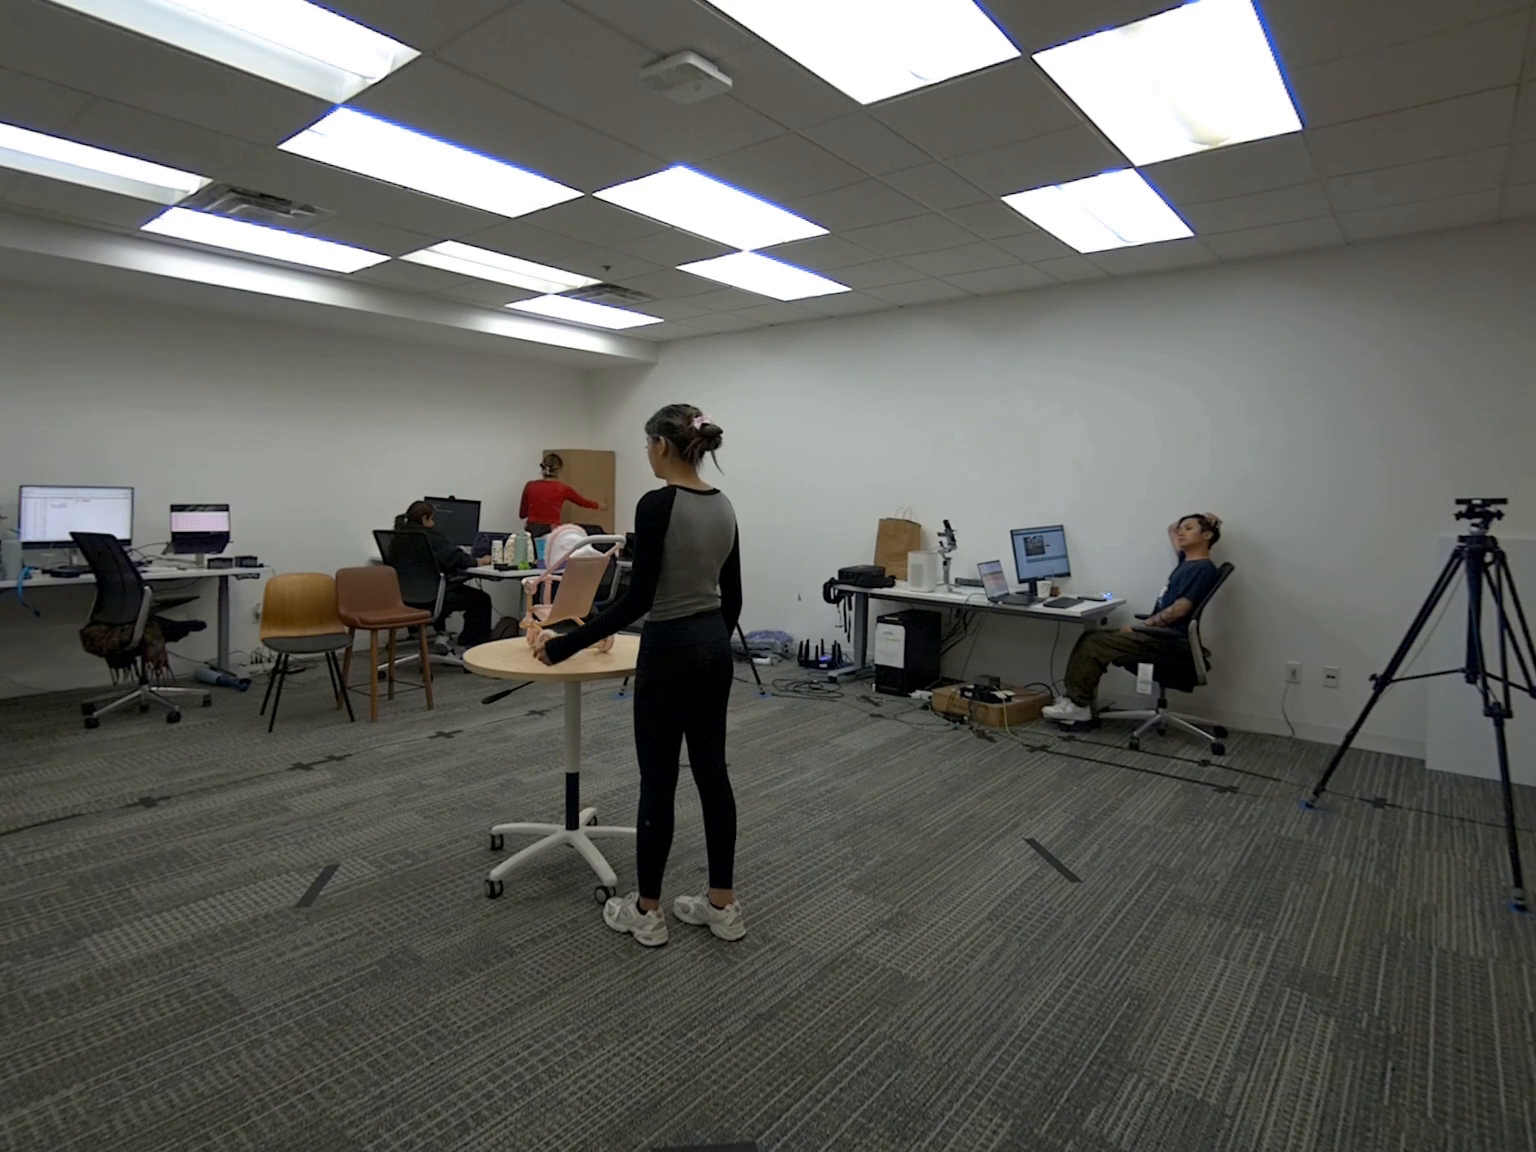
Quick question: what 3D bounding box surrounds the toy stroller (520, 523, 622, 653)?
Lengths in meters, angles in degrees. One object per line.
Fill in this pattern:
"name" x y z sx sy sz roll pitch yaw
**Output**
"toy stroller" -0.729 0.056 3.009 0.355 0.530 0.273 25 18 40
